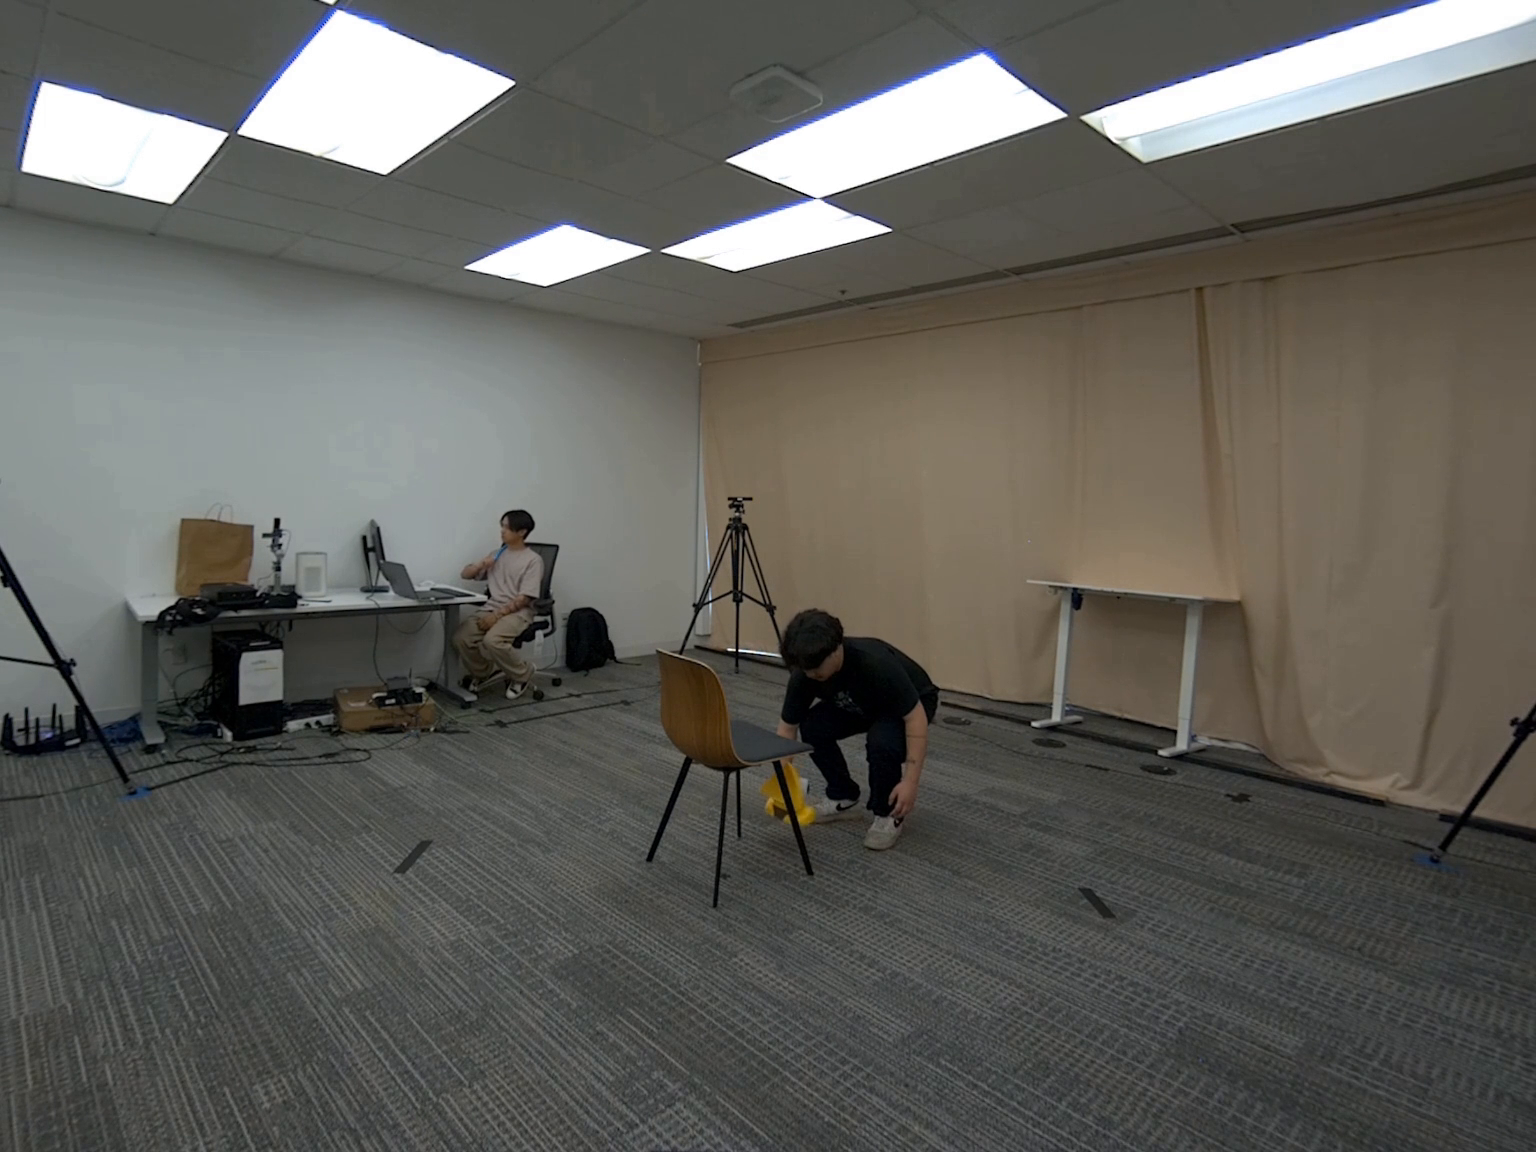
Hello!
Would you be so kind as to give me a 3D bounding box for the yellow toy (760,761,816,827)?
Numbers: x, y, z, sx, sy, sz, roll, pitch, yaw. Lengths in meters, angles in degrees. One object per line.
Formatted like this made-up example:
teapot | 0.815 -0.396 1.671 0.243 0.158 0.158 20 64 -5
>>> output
yellow toy | 0.093 0.846 3.363 0.210 0.229 0.188 14 10 40
